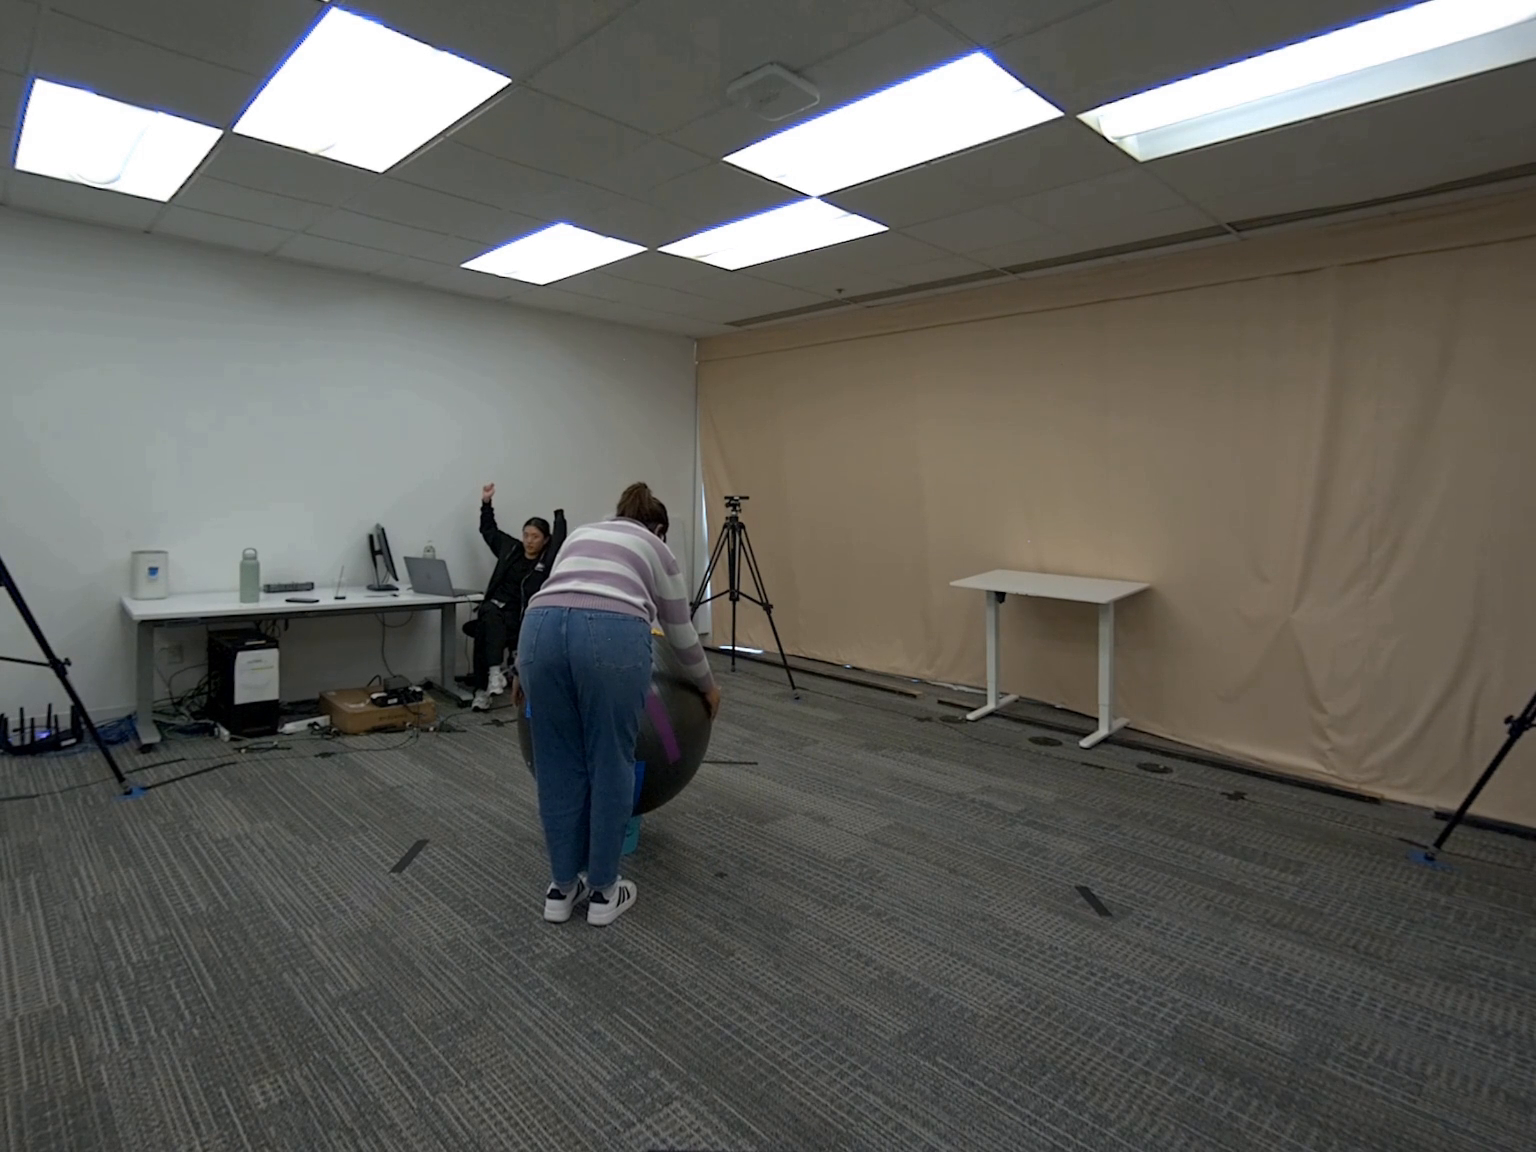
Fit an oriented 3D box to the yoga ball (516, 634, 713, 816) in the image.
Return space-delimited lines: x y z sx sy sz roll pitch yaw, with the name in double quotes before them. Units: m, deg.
"yoga ball" -0.603 0.562 3.315 0.757 0.756 0.761 1 4 -1
